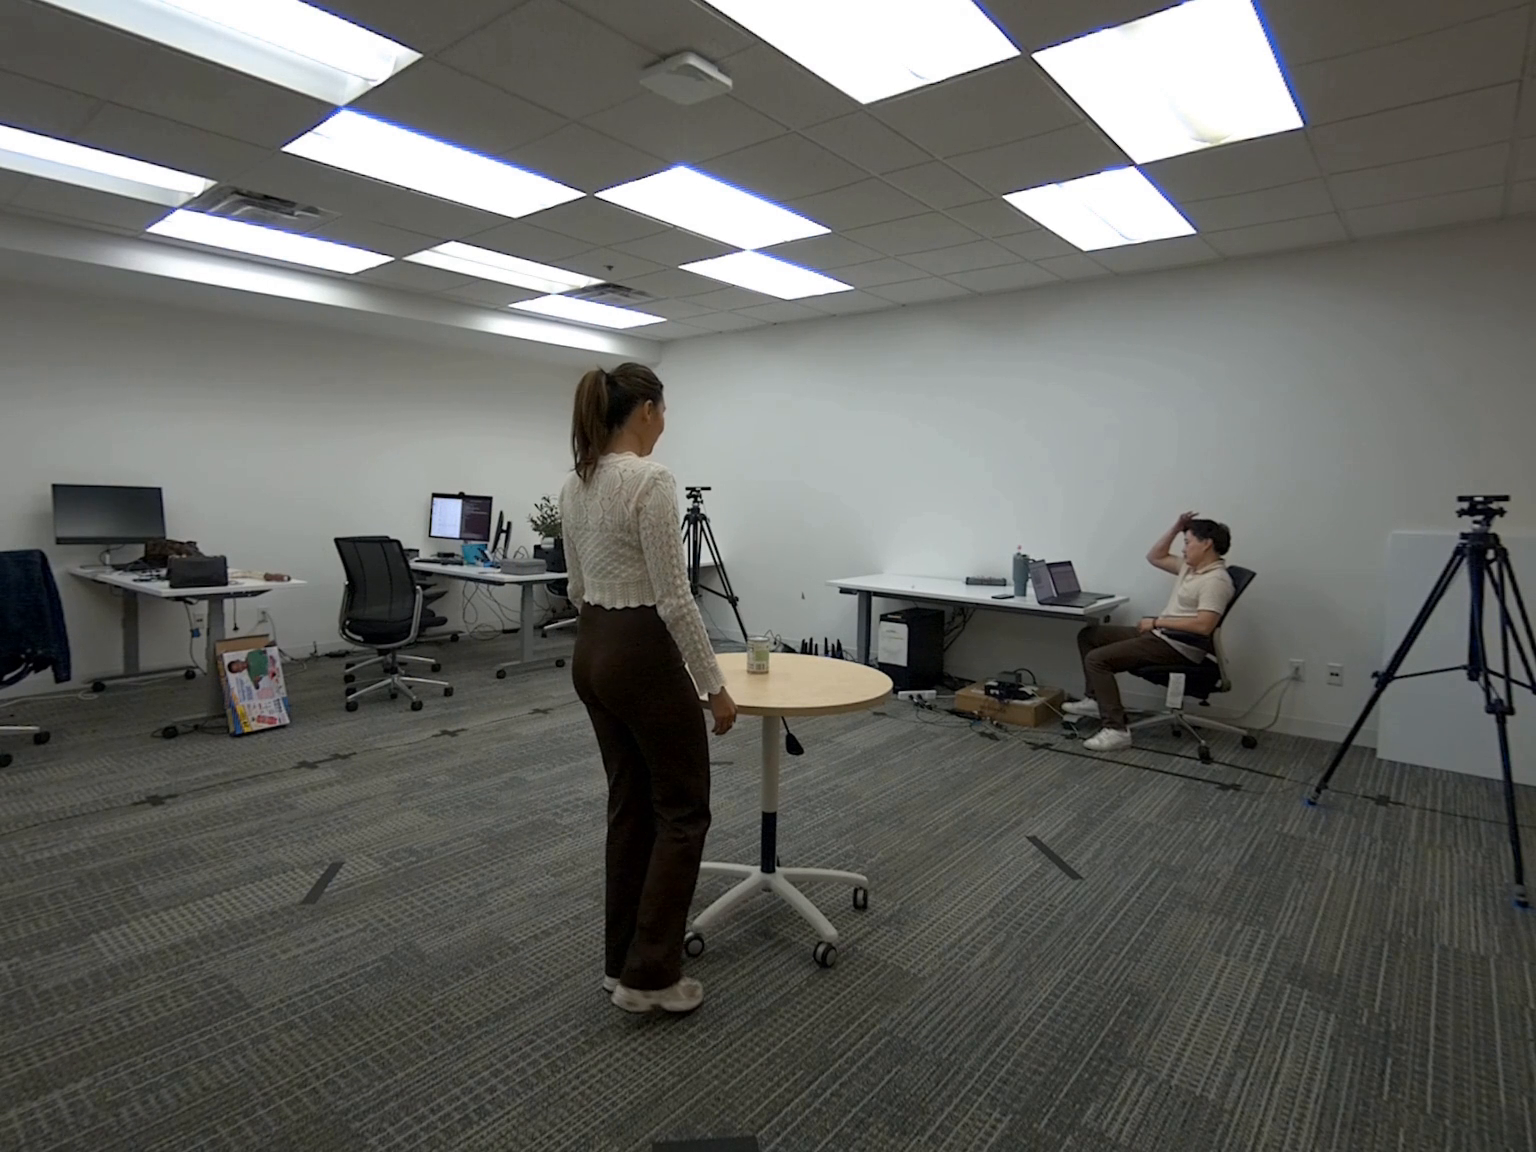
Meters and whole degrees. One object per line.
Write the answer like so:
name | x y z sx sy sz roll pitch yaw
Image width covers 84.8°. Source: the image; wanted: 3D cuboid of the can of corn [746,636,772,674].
can of corn | -0.043 0.259 2.804 0.074 0.110 0.074 0 4 -2
